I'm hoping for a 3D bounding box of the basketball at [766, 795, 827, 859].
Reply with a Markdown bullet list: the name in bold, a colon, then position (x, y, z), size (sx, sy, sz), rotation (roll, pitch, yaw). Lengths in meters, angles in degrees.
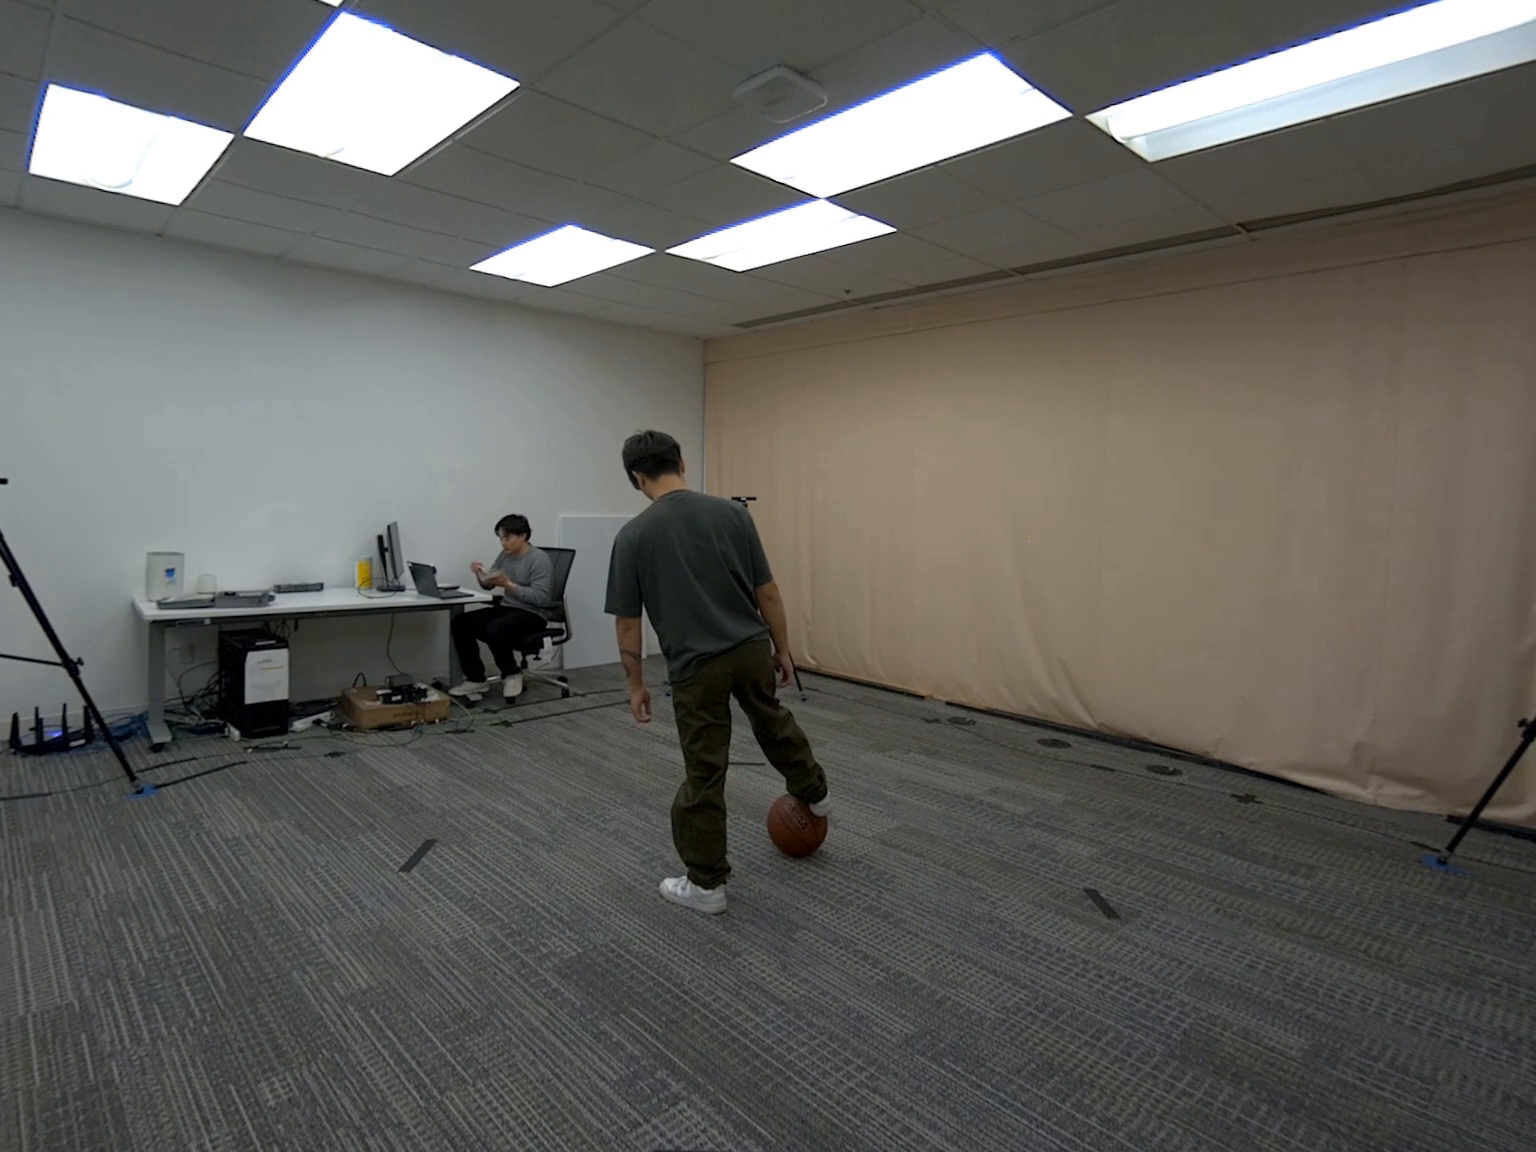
- **basketball**: position (0.110, 0.978, 3.315), size (0.236, 0.235, 0.237), rotation (1, 4, -1)
